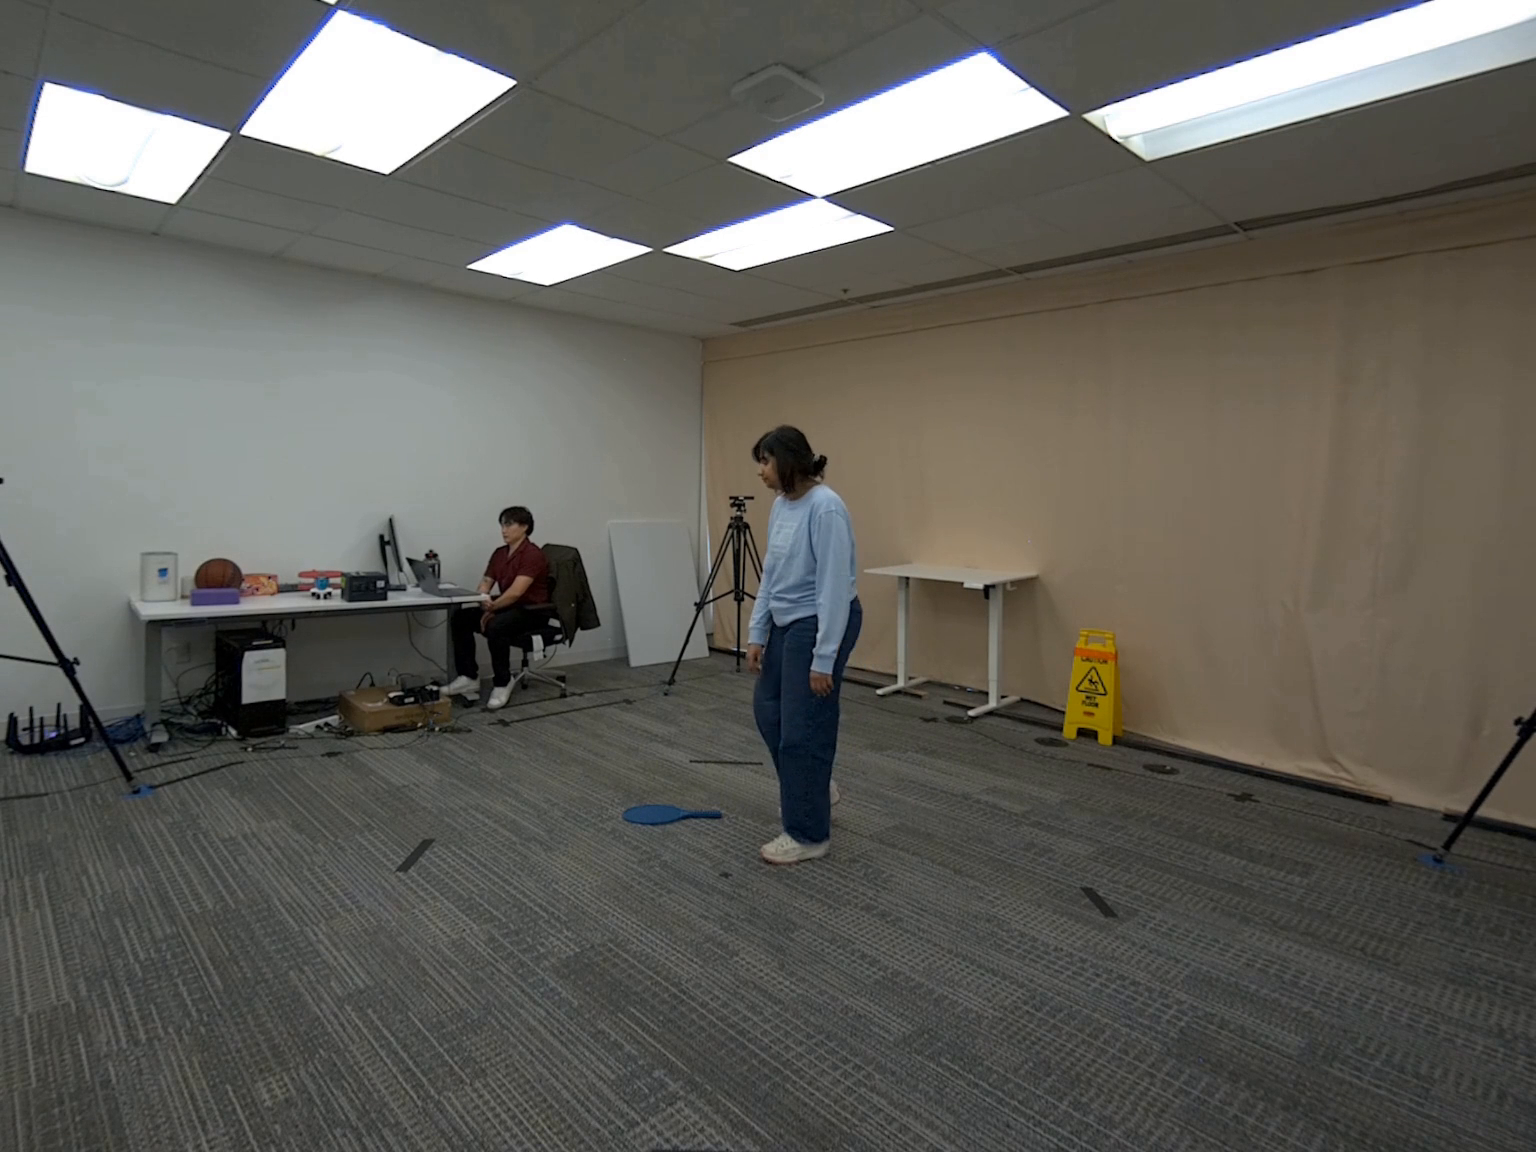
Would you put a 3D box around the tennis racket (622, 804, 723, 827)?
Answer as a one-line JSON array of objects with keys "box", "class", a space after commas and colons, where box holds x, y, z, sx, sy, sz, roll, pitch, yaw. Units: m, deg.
[{"box": [-0.423, 1.034, 3.666, 0.432, 0.031, 0.215, 0, 5, -4], "class": "tennis racket"}]
